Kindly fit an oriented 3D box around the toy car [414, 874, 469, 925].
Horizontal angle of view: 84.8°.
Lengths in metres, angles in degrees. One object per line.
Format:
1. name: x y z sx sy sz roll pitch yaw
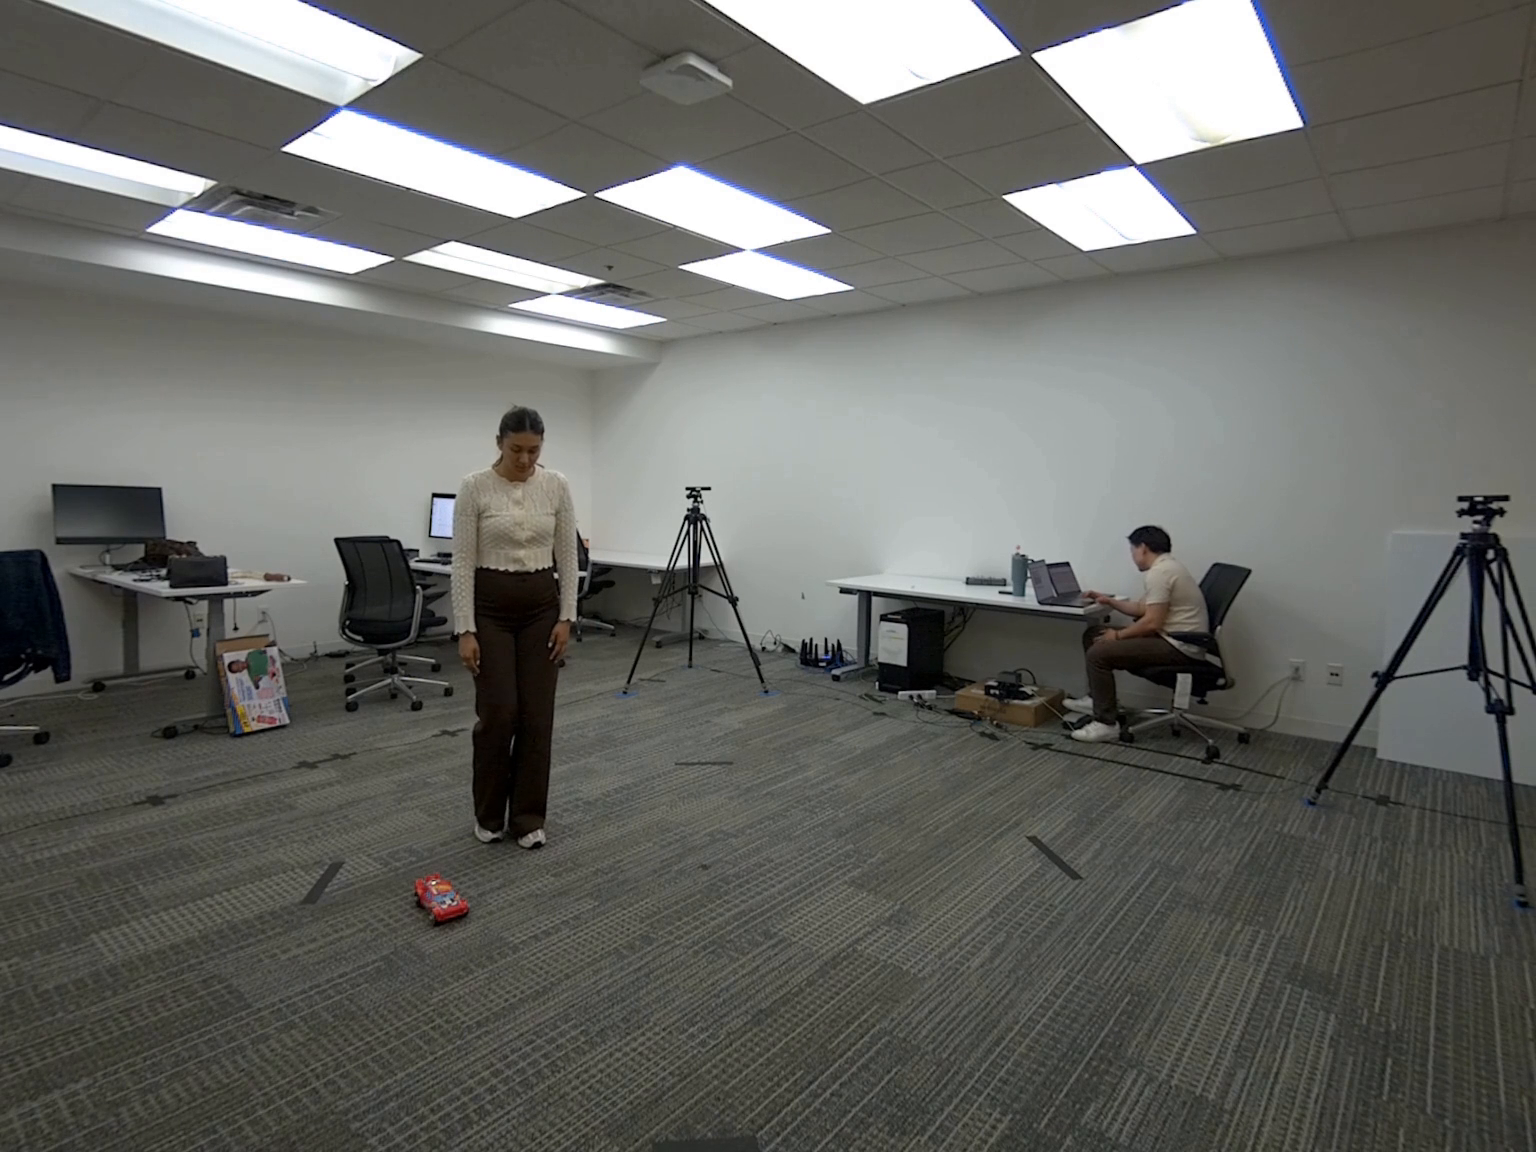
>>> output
1. toy car: -1.096 1.056 2.783 0.126 0.082 0.265 -5 18 -39
